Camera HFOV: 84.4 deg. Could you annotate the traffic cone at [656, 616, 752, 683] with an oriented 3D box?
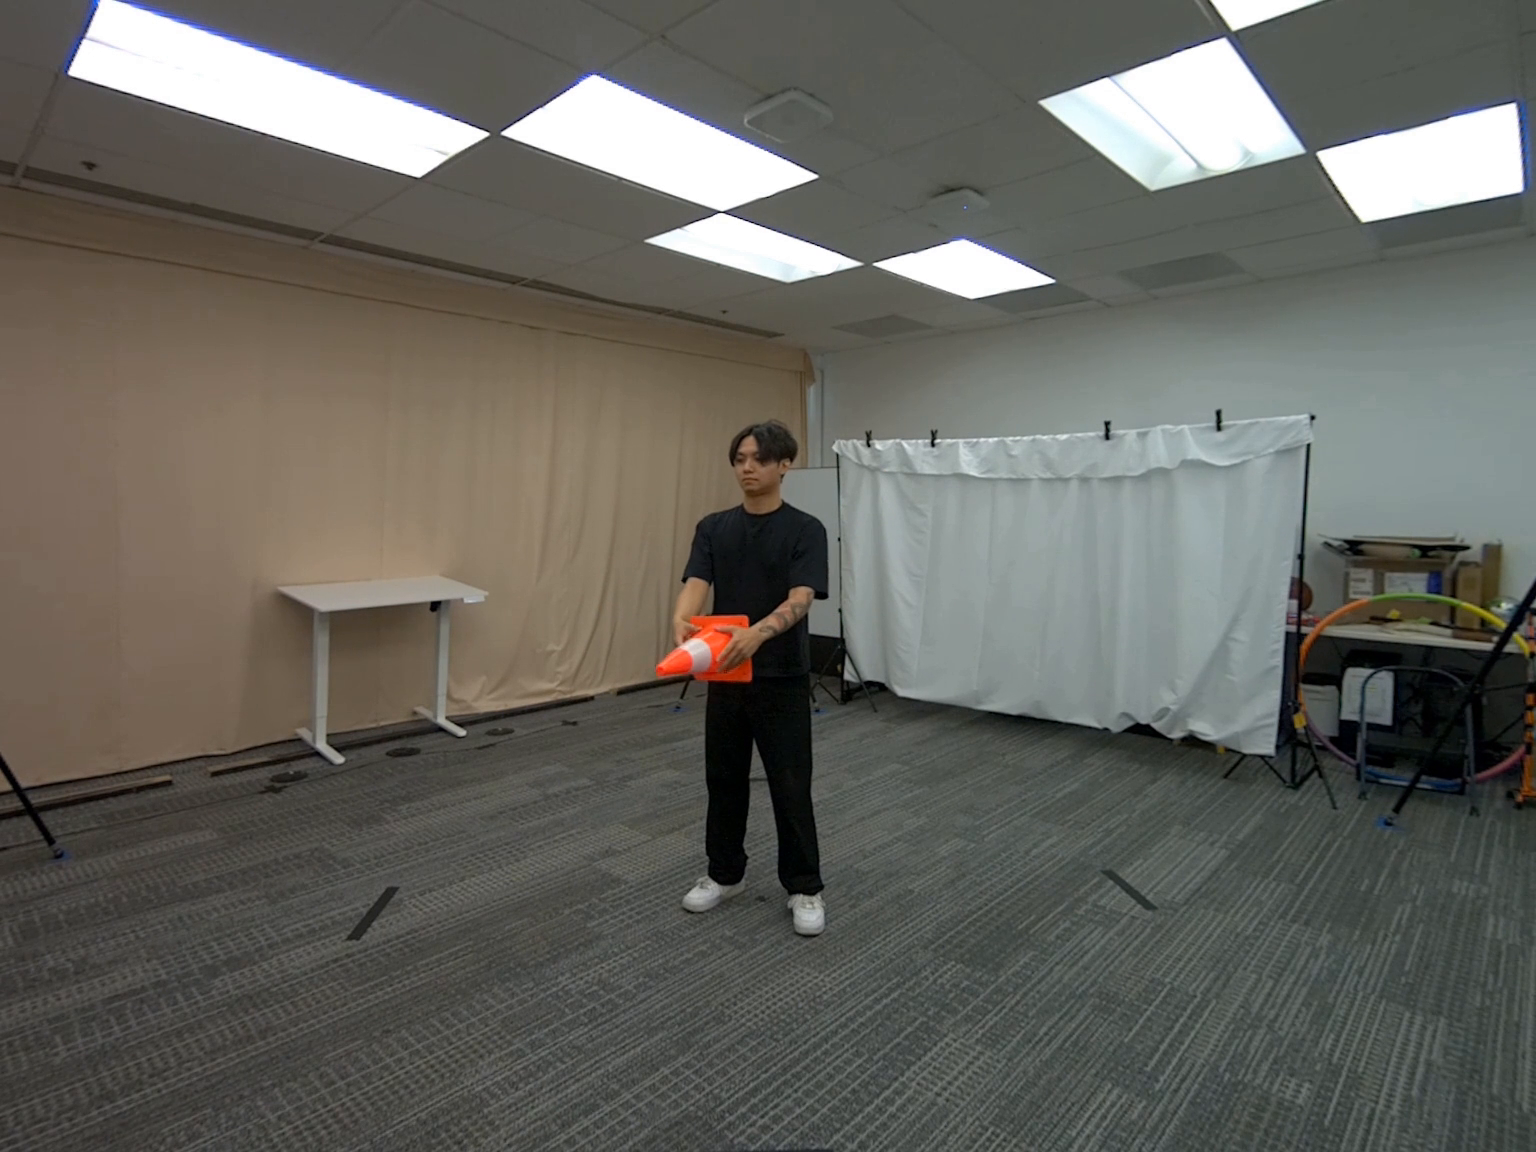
[{"bbox_3d":[-0.217,0.229,2.399,0.208,0.205,0.375,-6,2,25],"label":"traffic cone"}]
